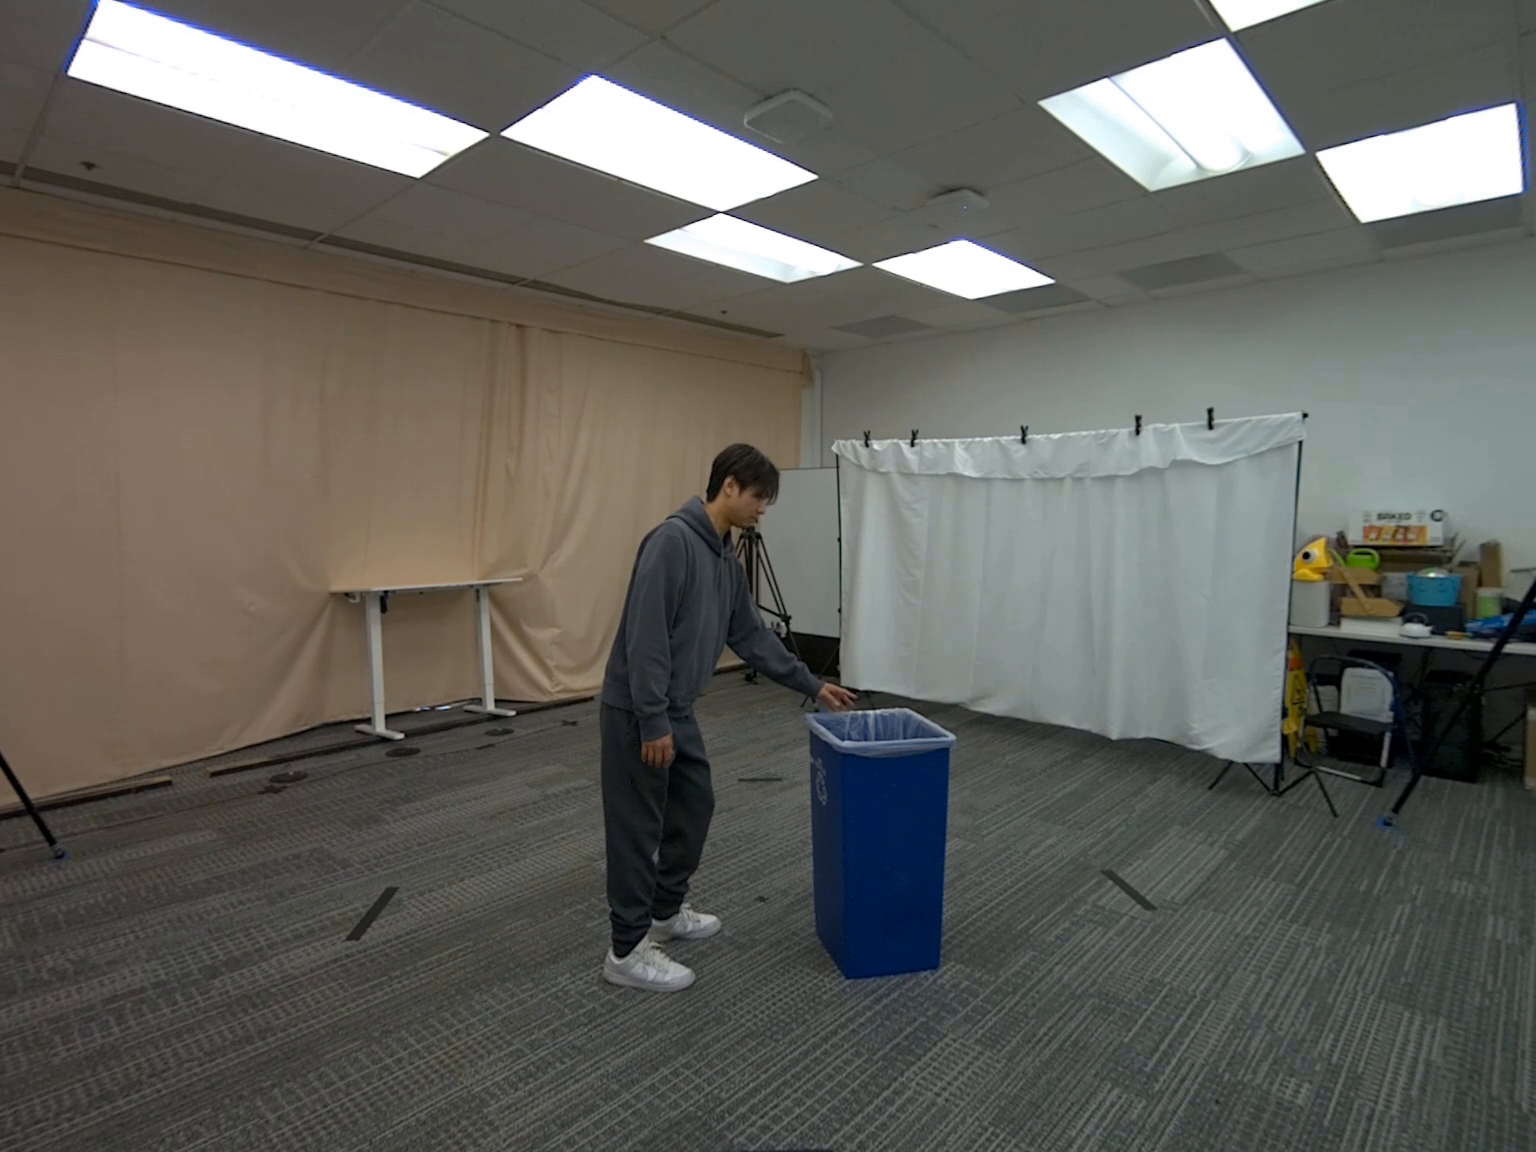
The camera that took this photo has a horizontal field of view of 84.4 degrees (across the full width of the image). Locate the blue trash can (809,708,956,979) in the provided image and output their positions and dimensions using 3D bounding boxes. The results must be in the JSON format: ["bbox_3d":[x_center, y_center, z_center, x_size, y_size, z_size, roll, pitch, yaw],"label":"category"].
[{"bbox_3d":[0.344,0.818,2.617,0.373,0.712,0.380,-1,3,-13],"label":"blue trash can"}]
